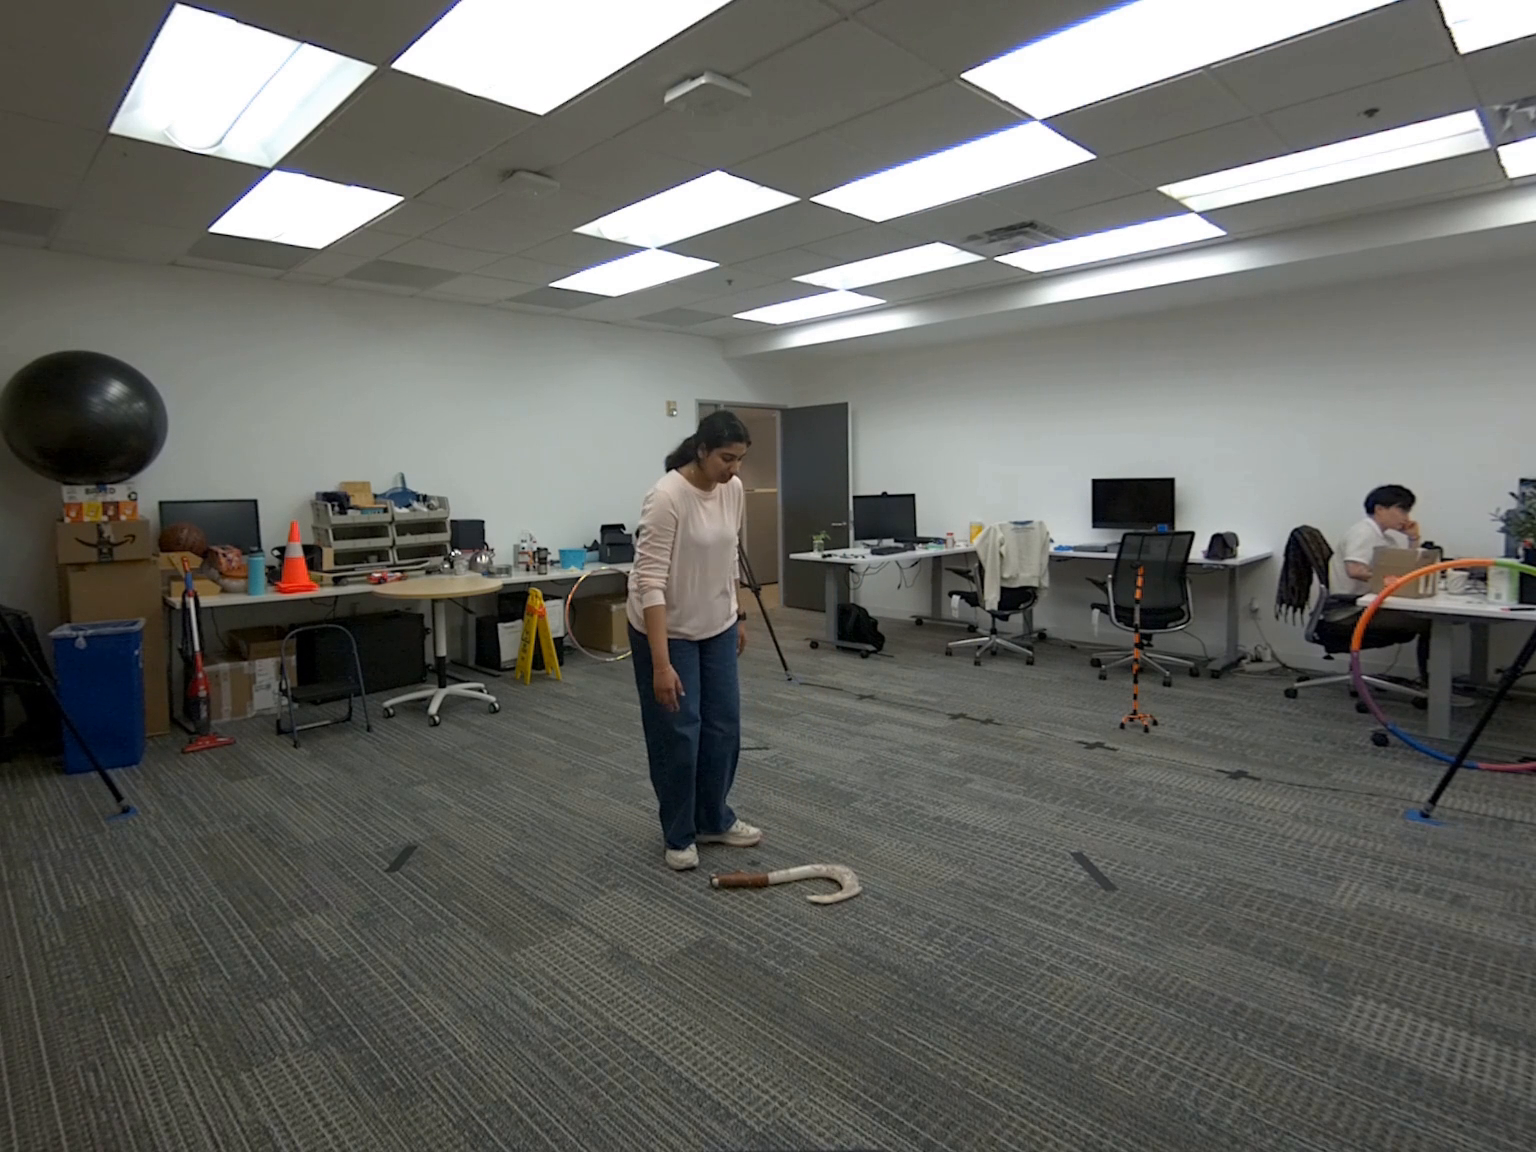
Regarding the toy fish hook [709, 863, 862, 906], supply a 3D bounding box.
[{"bbox_3d":[0.059,1.040,2.890,0.504,0.048,0.226,-2,6,-5],"label":"toy fish hook"}]
